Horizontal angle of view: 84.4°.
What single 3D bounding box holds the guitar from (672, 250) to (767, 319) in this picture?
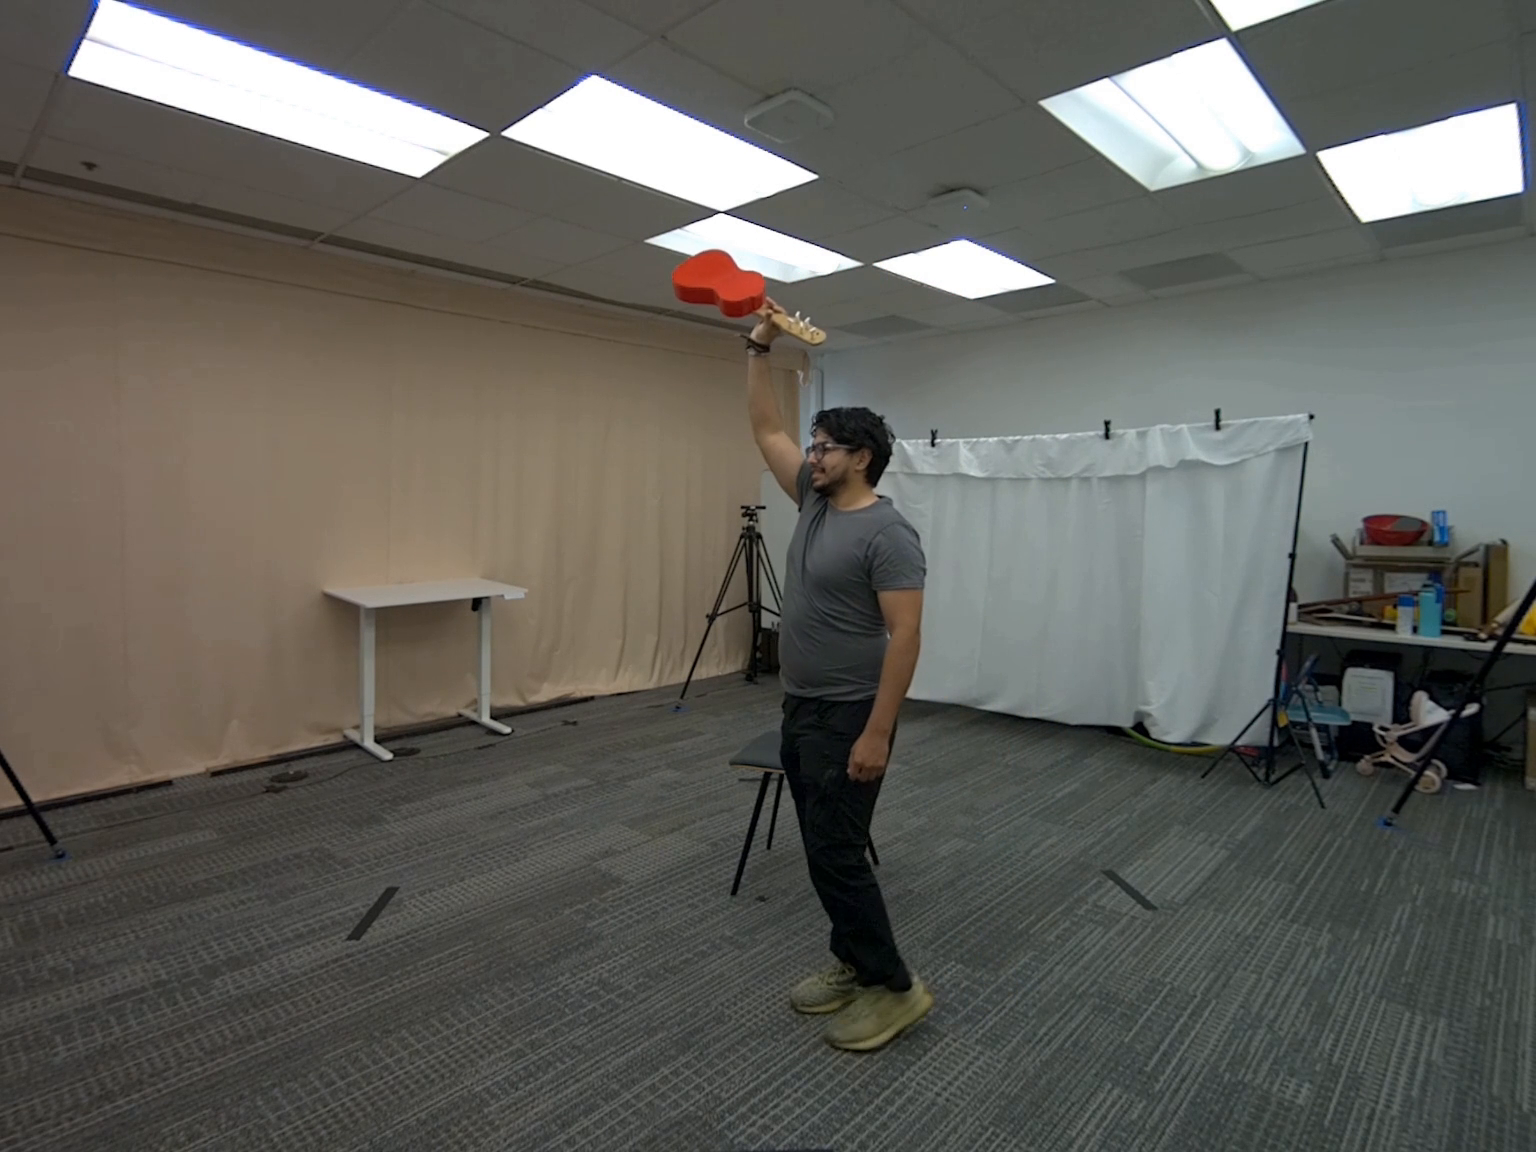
[{"bbox_3d":[-0.023,-0.785,2.341,0.511,0.192,0.069,26,-29,23],"label":"guitar"}]
